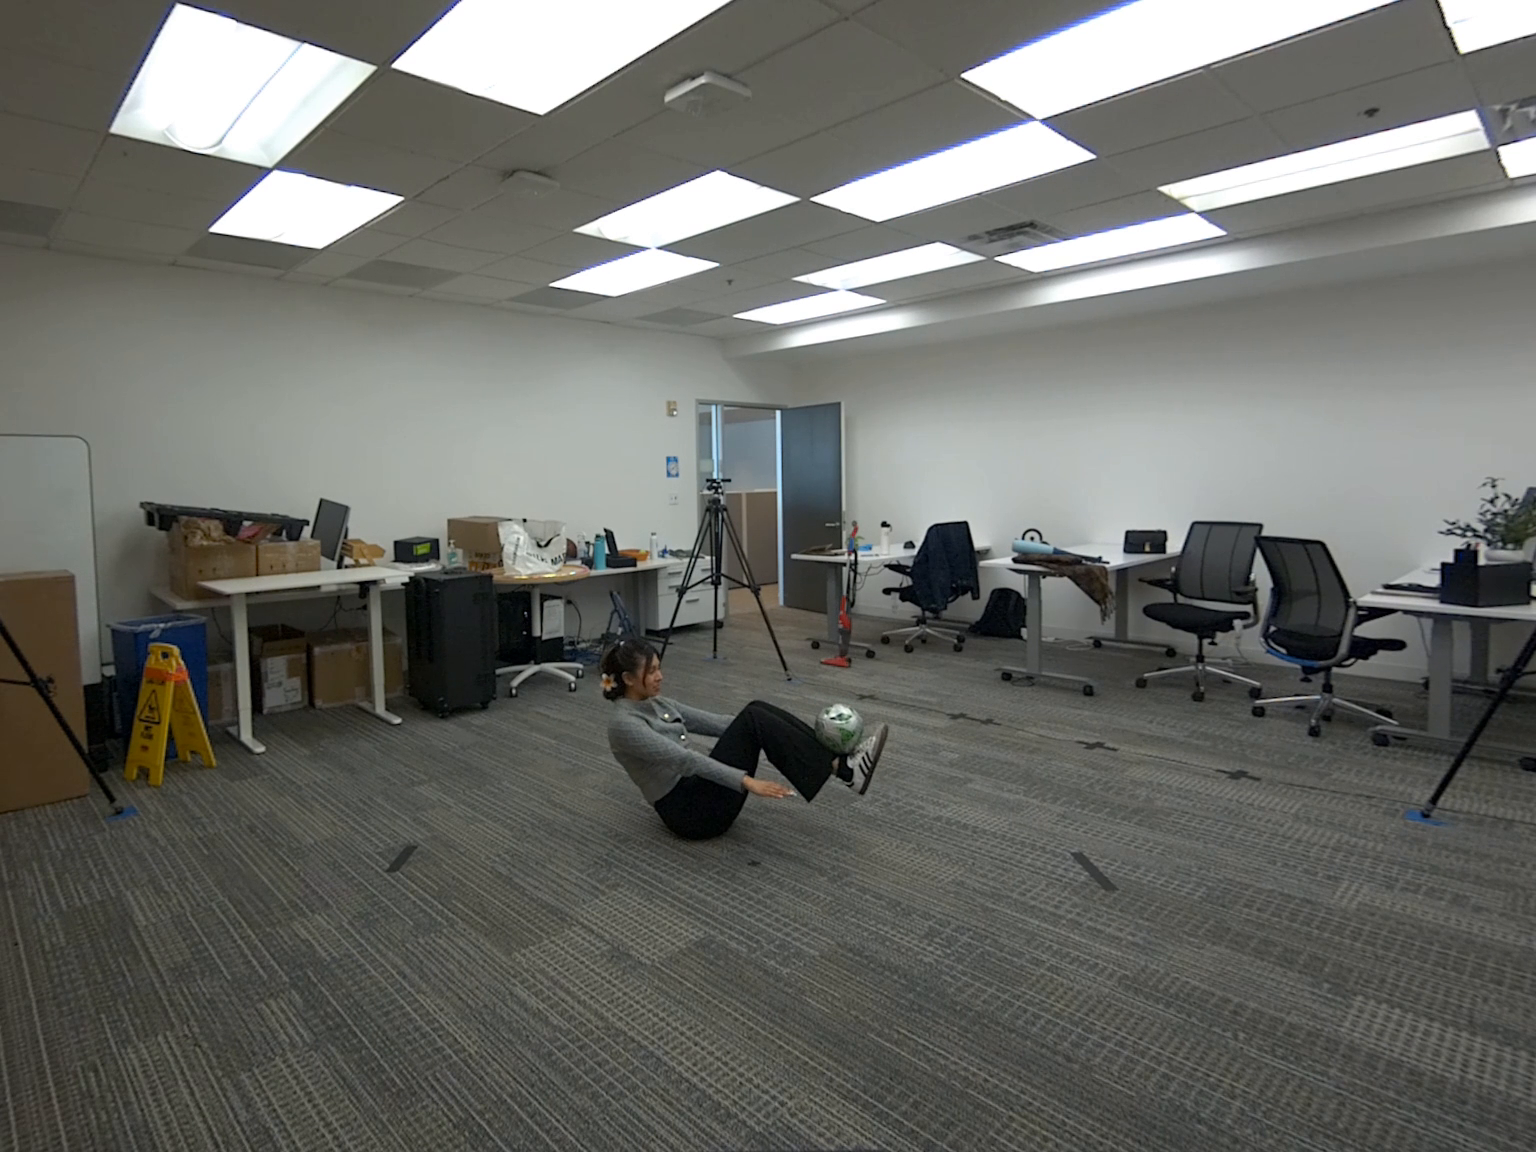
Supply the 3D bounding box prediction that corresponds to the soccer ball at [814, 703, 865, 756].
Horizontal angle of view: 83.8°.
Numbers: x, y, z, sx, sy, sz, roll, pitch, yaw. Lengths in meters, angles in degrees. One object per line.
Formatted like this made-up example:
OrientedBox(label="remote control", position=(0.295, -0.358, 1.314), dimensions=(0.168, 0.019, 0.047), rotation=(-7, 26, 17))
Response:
OrientedBox(label="soccer ball", position=(0.275, 0.582, 3.256), dimensions=(0.187, 0.187, 0.188), rotation=(-1, 5, -2))
